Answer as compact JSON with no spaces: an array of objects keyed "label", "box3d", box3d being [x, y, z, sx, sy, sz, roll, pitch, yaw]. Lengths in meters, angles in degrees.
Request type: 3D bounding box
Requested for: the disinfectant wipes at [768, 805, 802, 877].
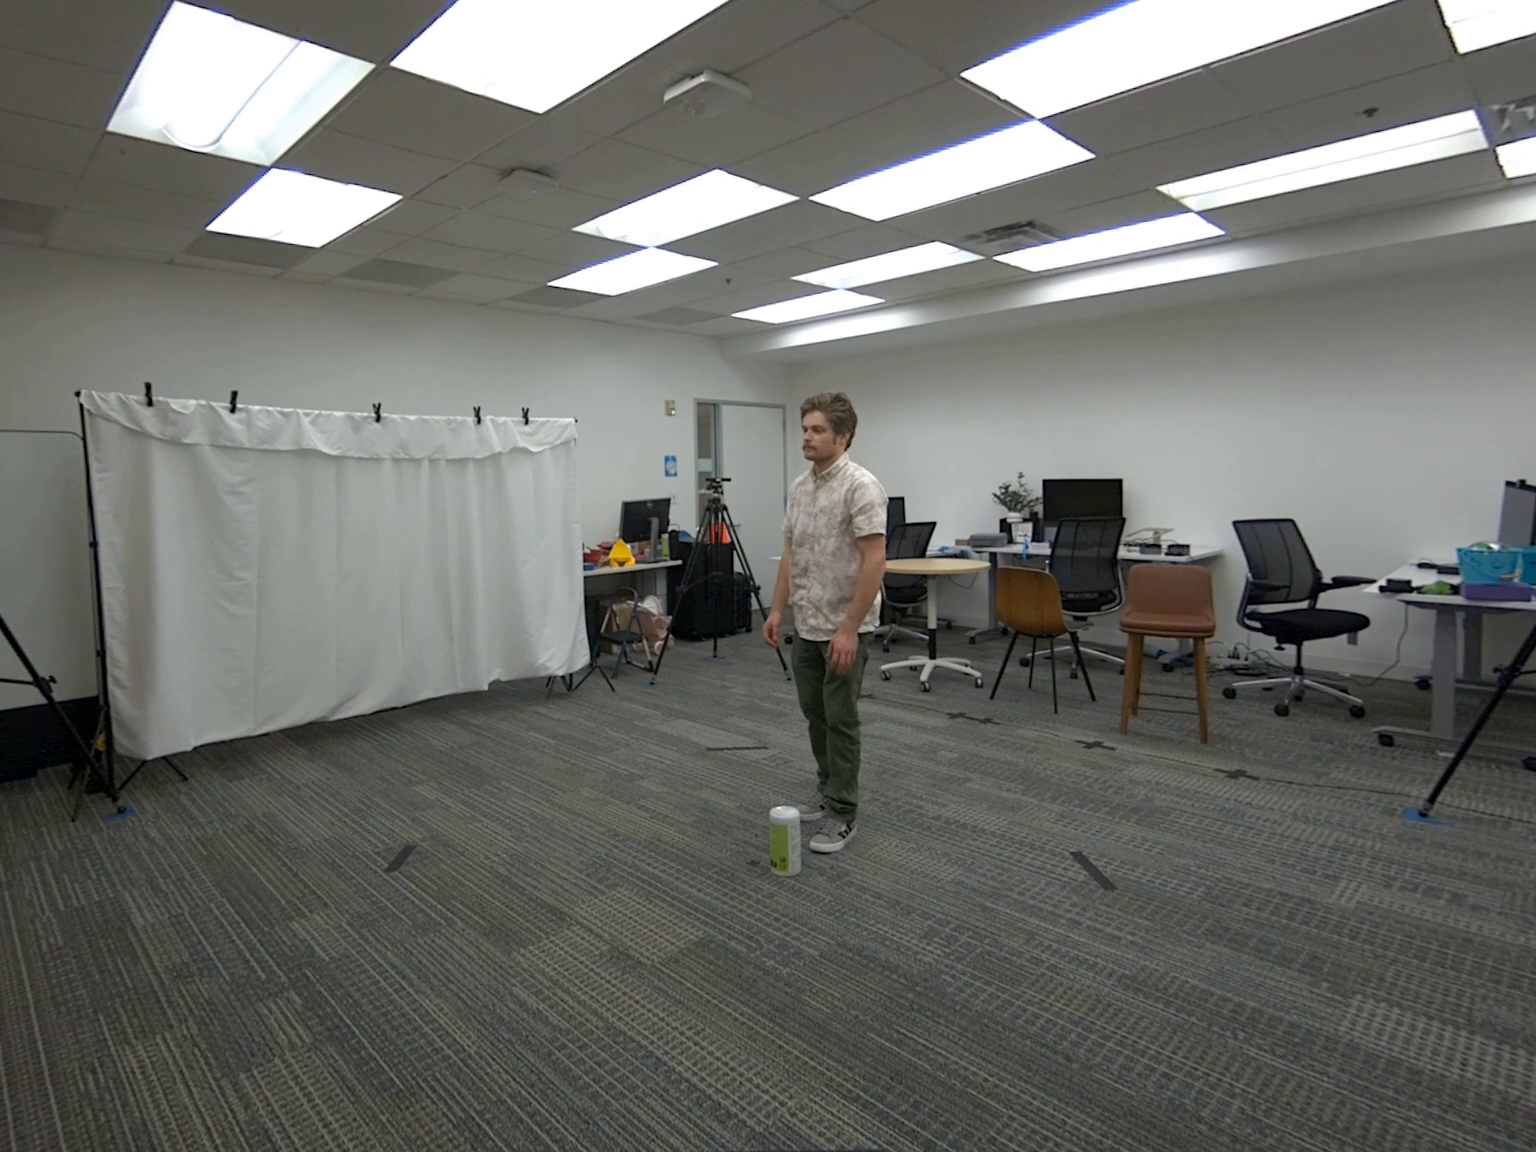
[{"label":"disinfectant wipes","box3d":[0.066,0.942,3.033,0.118,0.216,0.118,-2,5,-1]}]
